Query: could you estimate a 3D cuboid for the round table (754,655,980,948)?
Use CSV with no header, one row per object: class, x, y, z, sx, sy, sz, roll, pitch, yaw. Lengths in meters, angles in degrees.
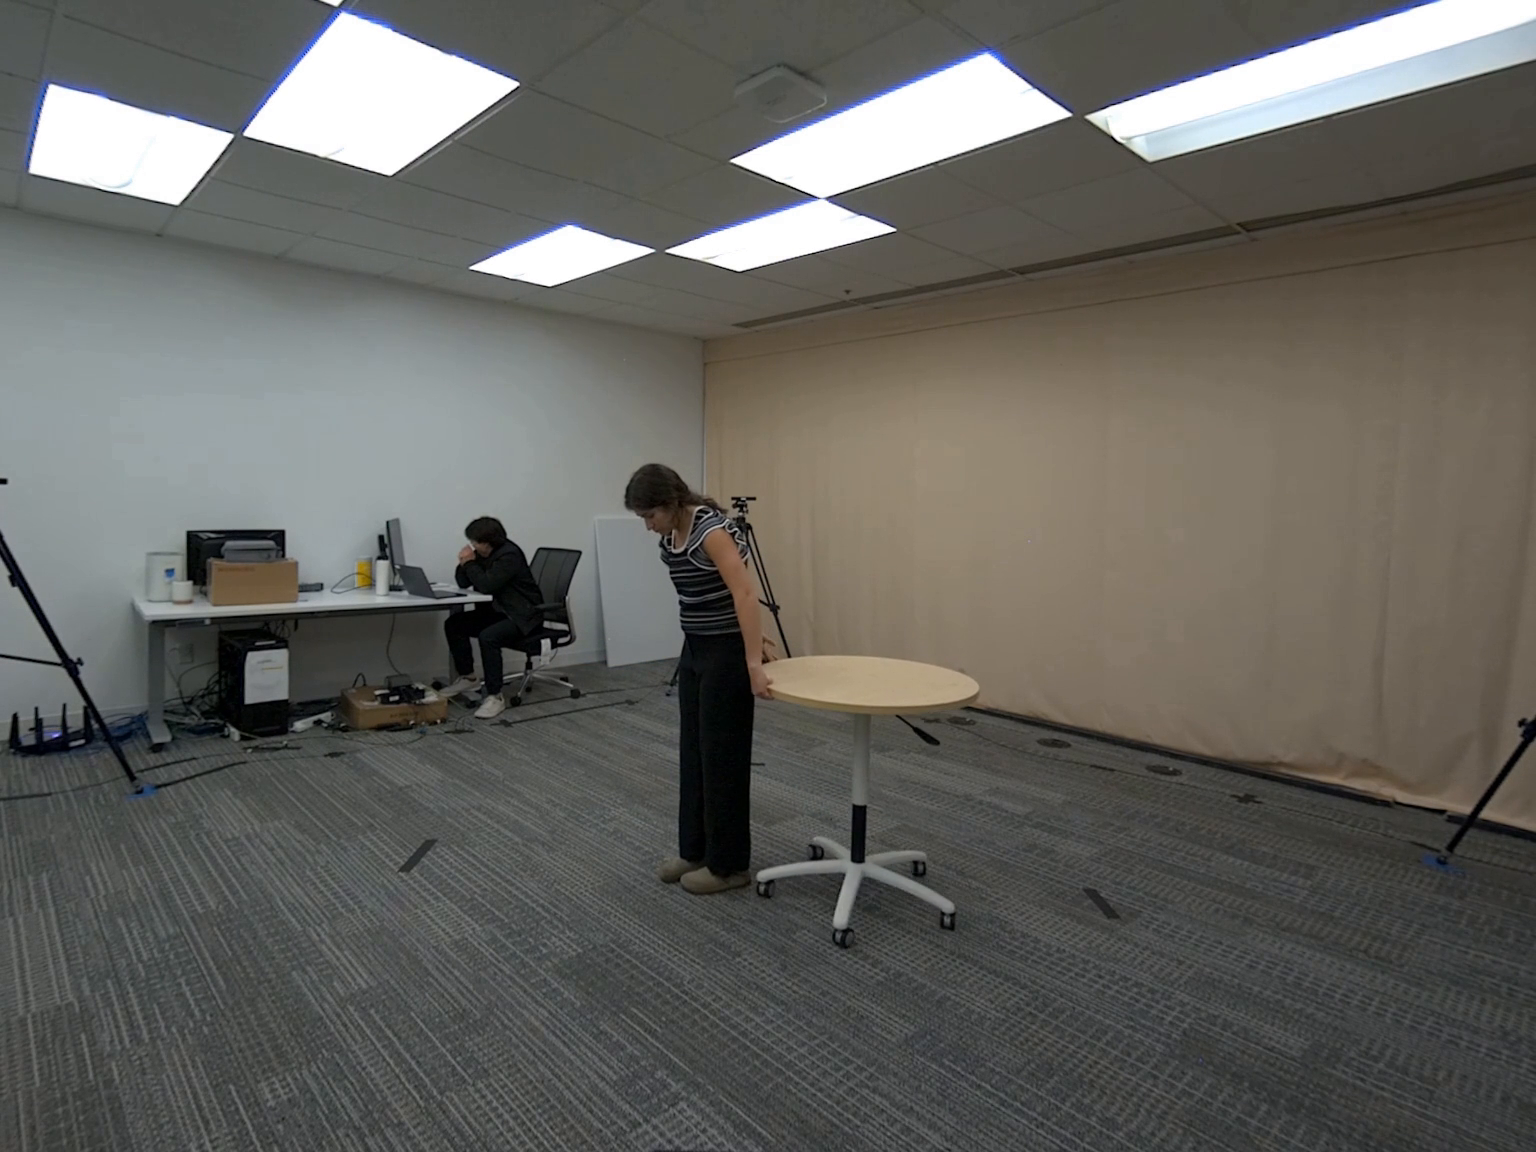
round table,0.302,0.737,2.925,0.784,0.784,0.788,2,4,-2
